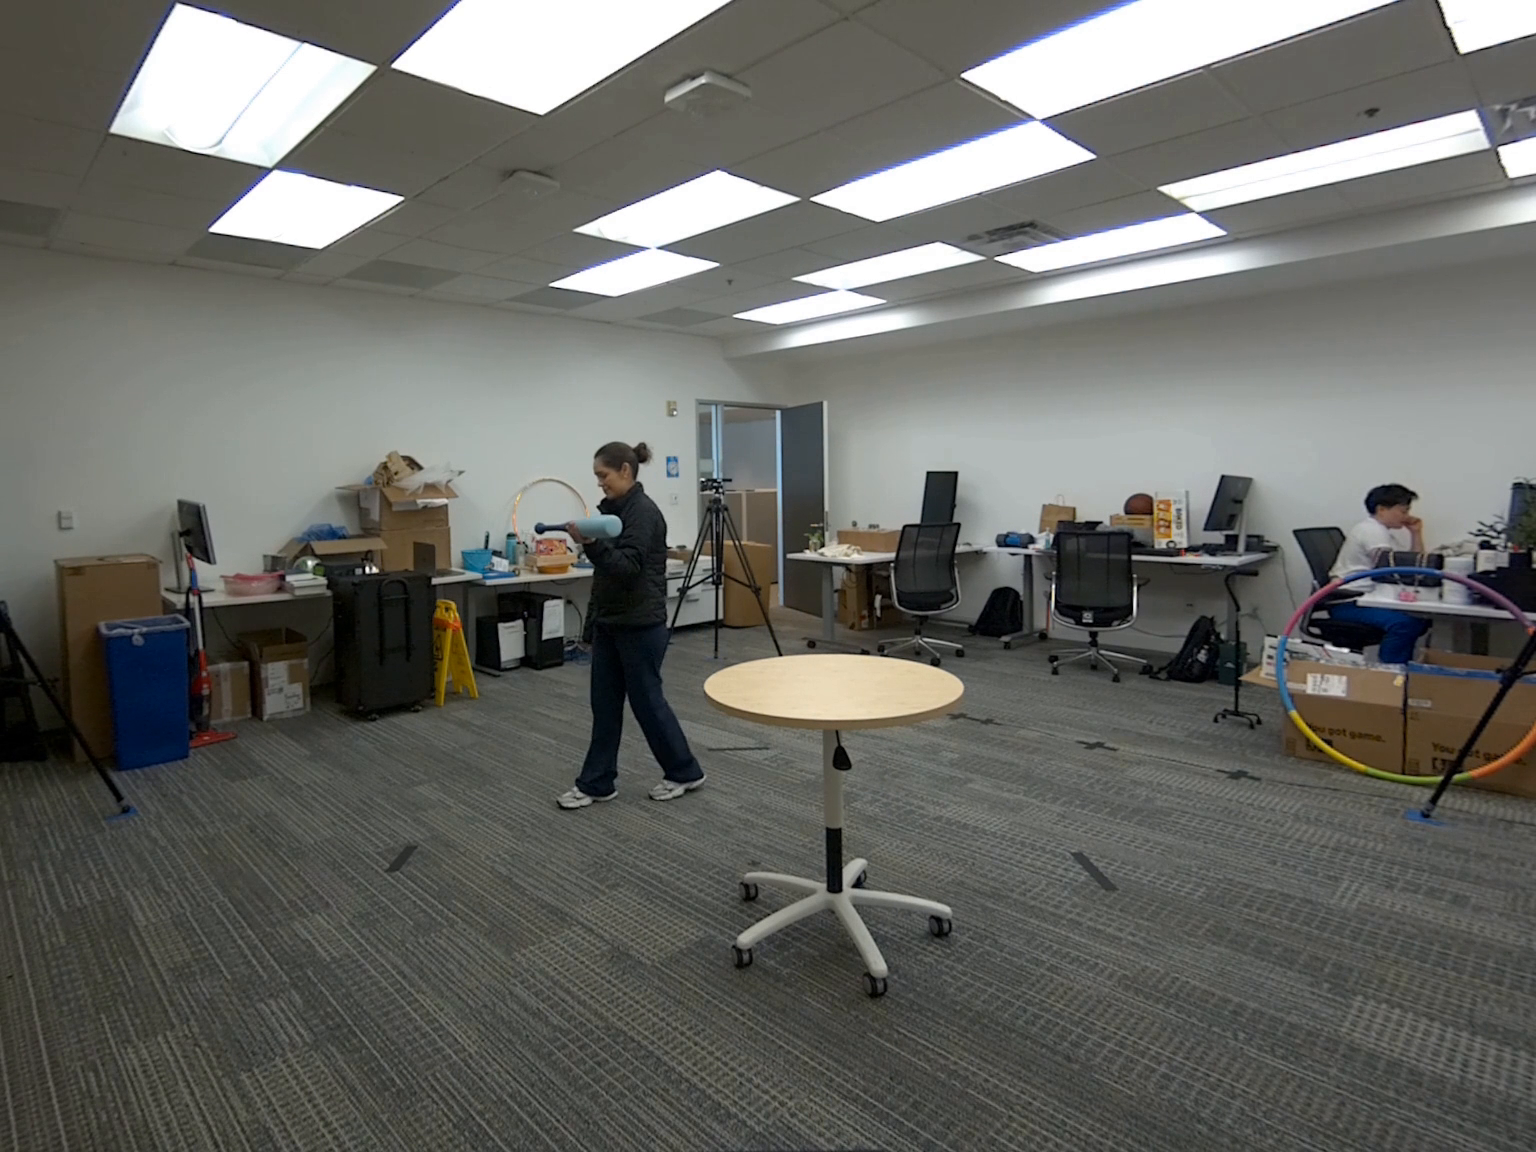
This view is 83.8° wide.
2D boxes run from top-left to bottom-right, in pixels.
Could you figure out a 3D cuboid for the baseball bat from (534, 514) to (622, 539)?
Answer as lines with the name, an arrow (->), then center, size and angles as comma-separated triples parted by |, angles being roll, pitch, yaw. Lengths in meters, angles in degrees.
baseball bat -> -0.768, -0.191, 3.406 | 0.087, 0.089, 0.559 | -5, 5, -44
